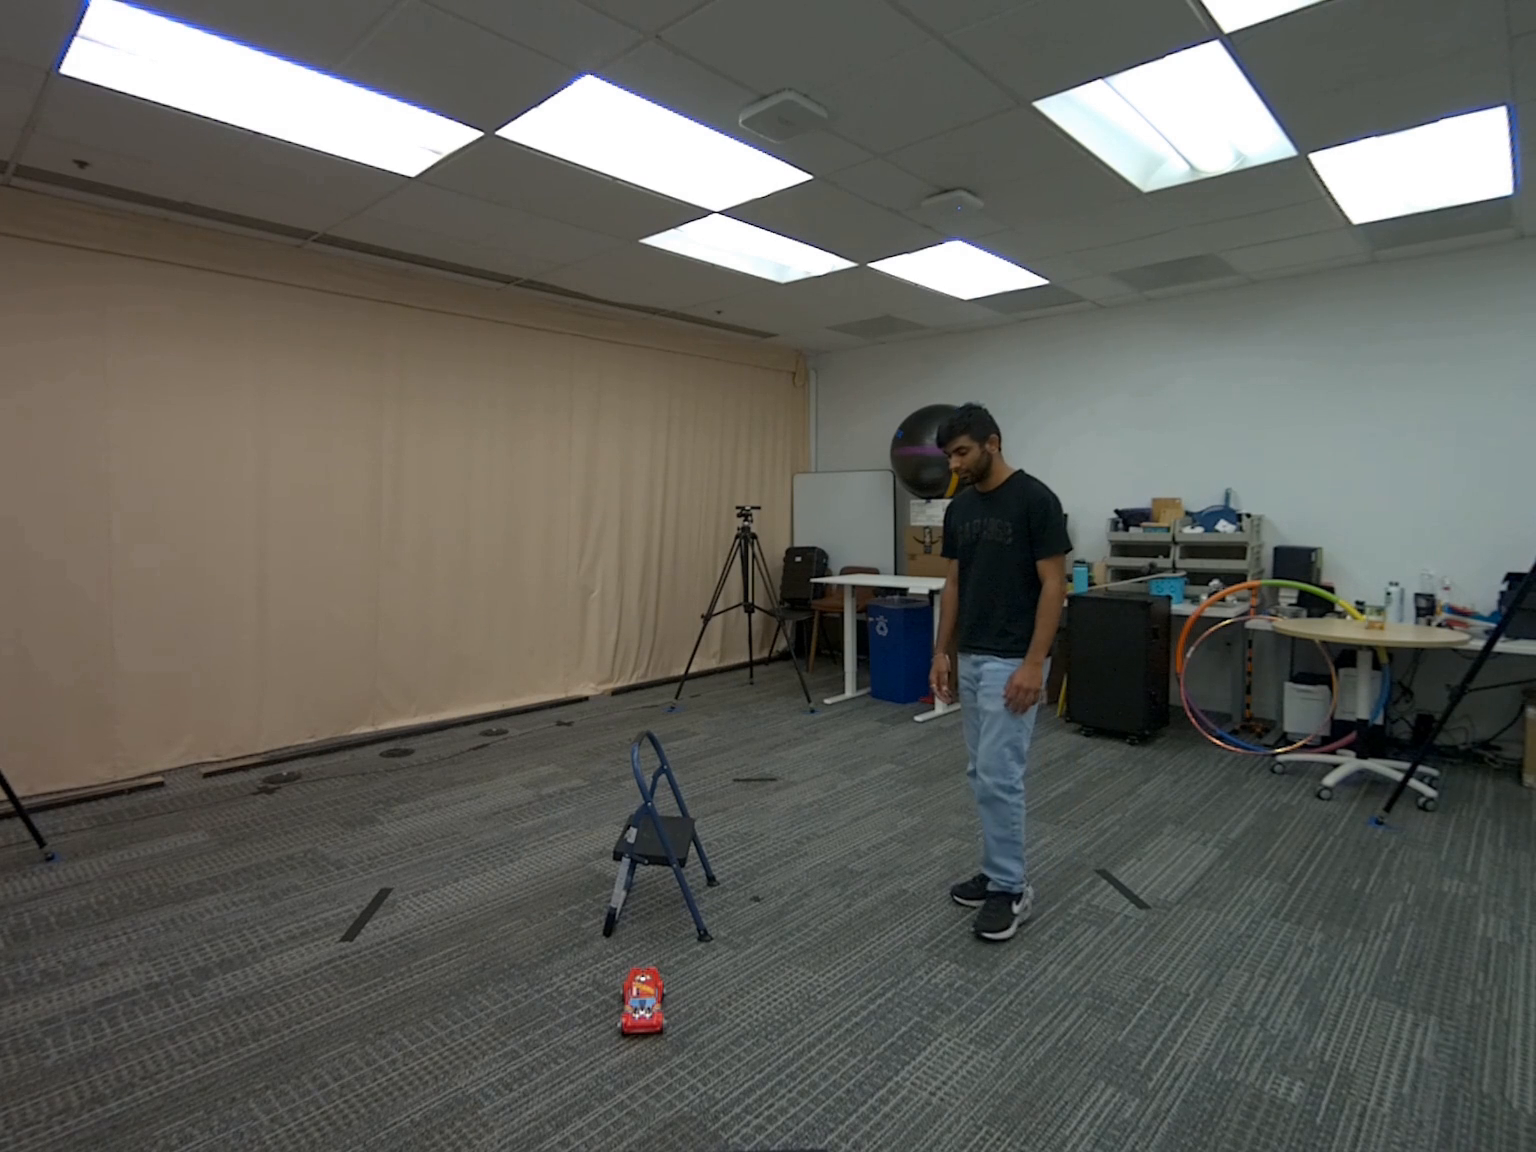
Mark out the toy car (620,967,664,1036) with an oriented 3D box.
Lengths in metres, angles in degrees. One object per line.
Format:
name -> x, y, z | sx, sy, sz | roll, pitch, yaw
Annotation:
toy car -> -0.346, 1.164, 2.317 | 0.130, 0.082, 0.258 | -1, 16, -6
